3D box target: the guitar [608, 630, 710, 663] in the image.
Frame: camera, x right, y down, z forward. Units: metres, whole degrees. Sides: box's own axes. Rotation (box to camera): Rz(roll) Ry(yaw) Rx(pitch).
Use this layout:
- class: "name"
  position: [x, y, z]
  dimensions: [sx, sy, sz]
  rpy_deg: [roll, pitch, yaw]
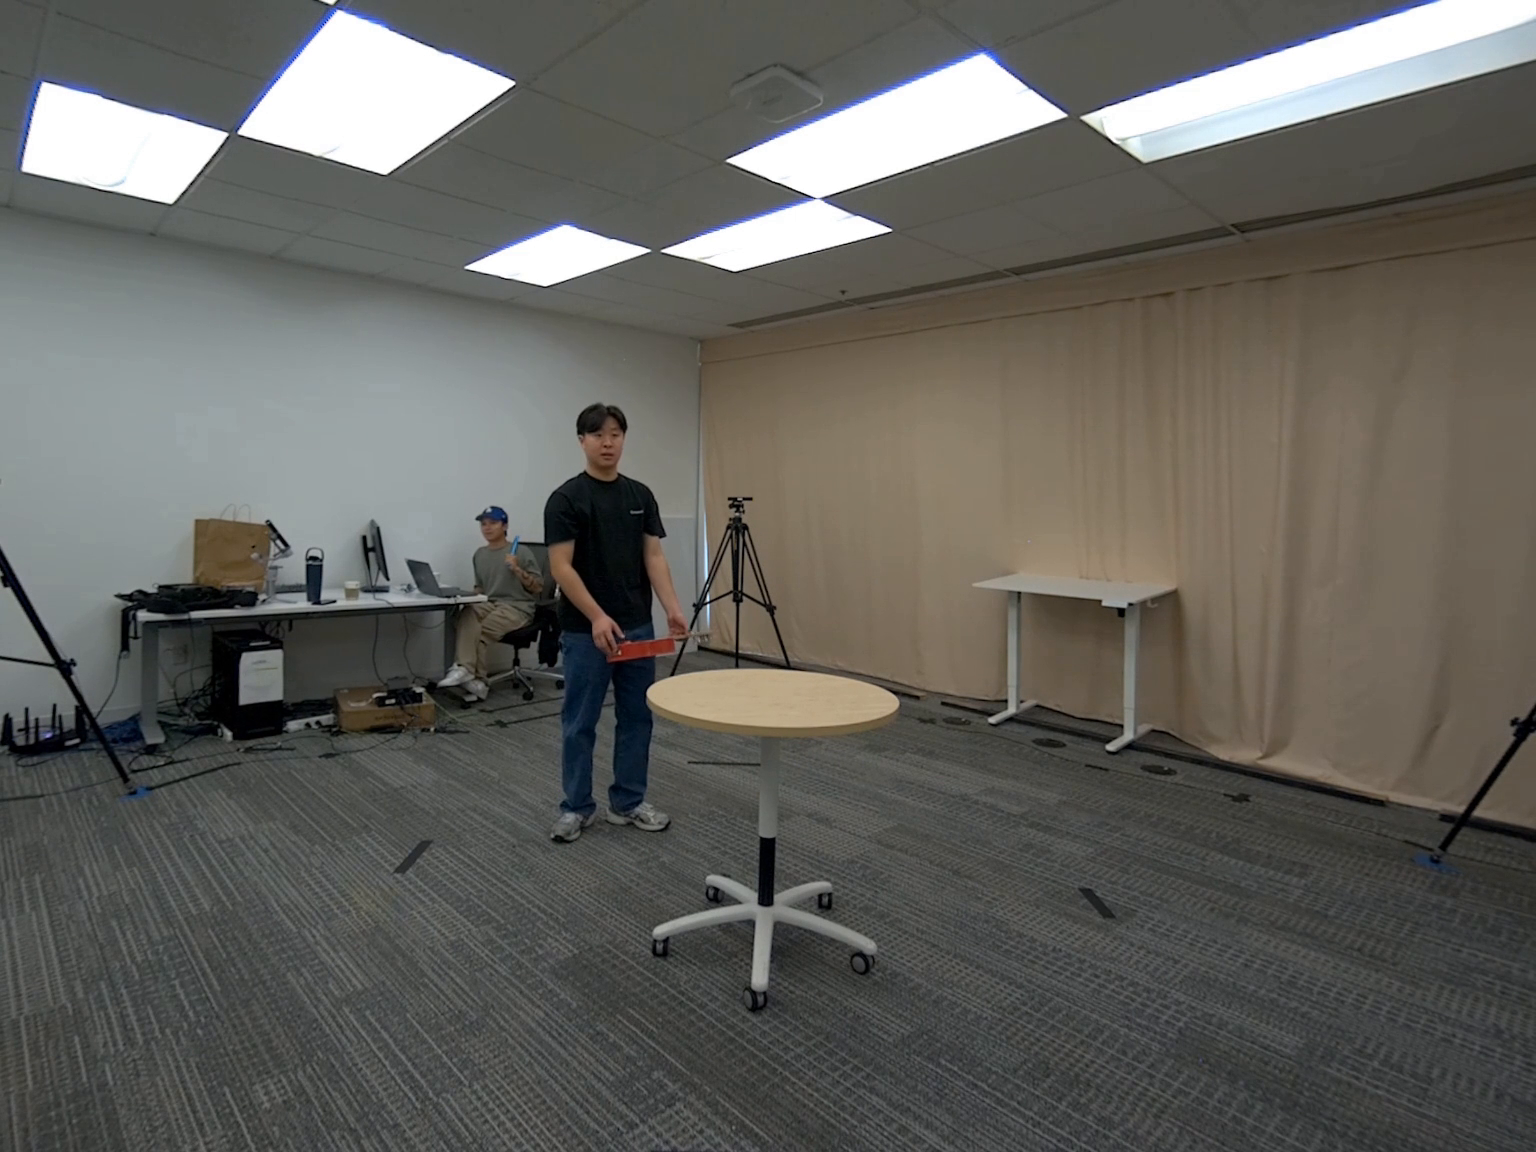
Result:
- class: "guitar"
  position: [-0.402, 0.272, 3.333]
  dimensions: [0.489, 0.071, 0.195]
  rpy_deg: [-7, -5, -28]
